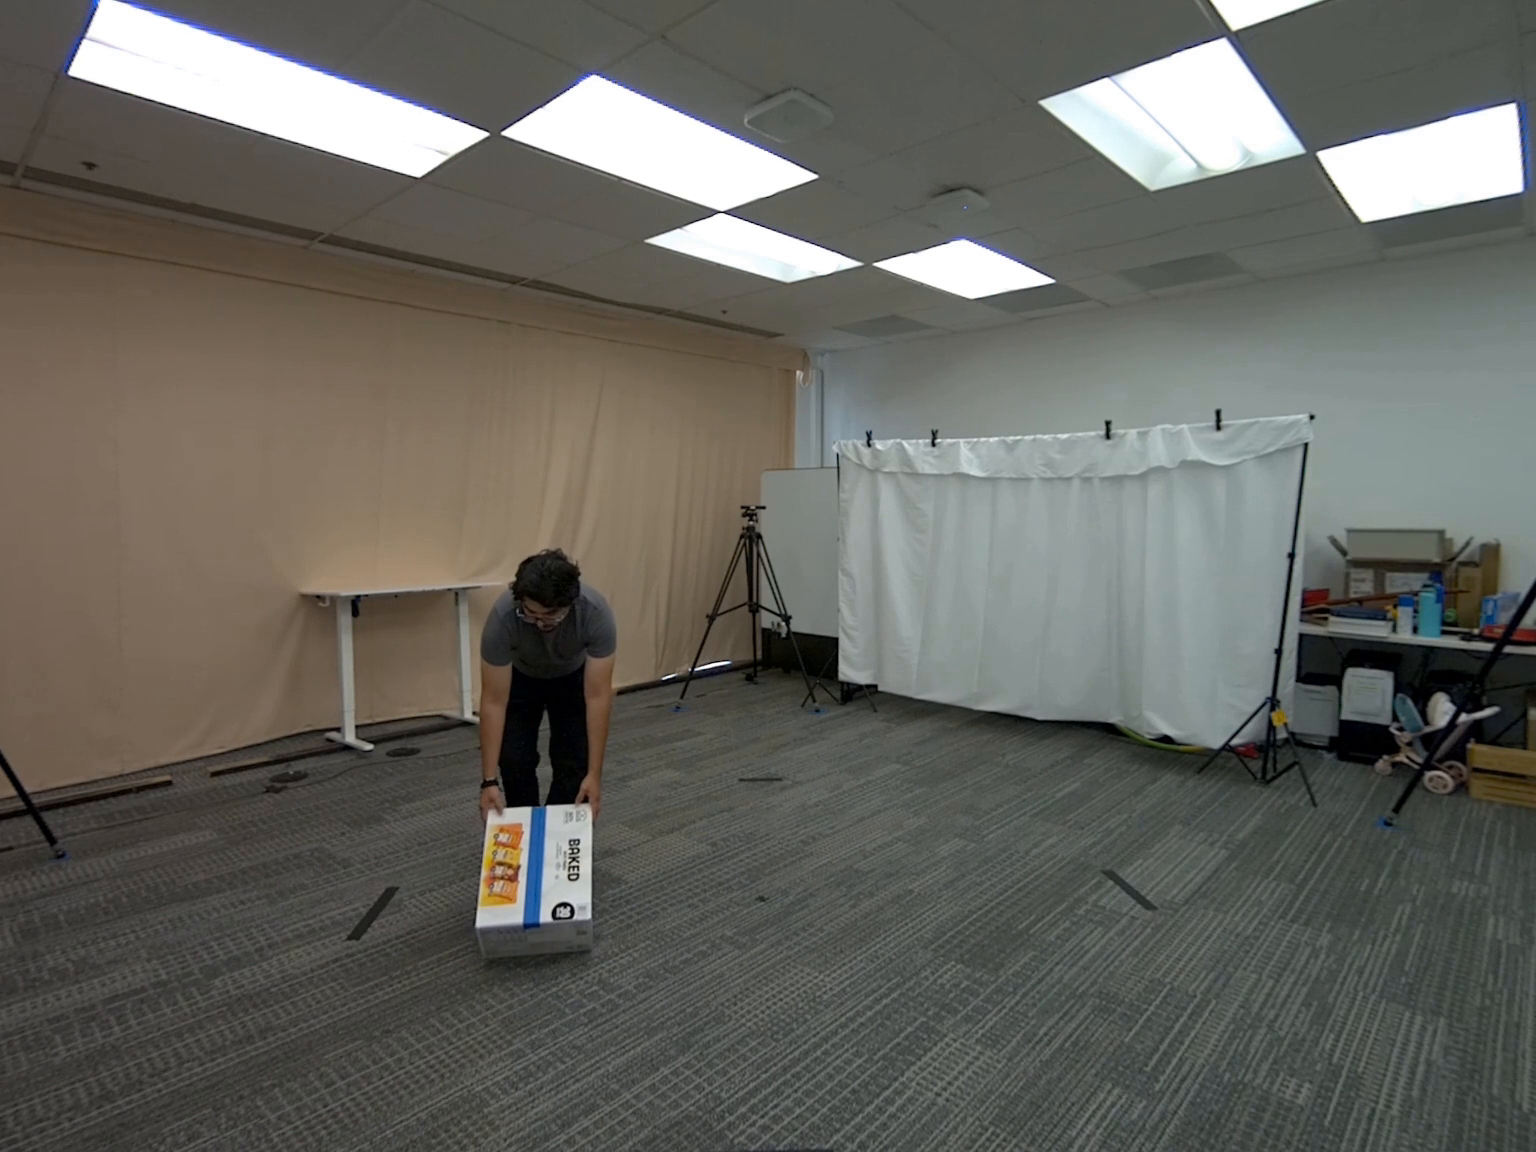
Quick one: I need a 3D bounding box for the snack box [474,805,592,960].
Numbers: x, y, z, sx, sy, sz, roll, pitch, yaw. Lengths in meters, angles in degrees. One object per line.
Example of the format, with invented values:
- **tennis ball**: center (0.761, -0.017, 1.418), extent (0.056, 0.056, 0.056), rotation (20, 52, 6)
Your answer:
- **snack box**: center (-0.736, 0.974, 2.706), extent (0.338, 0.202, 0.415), rotation (-2, 41, -8)
